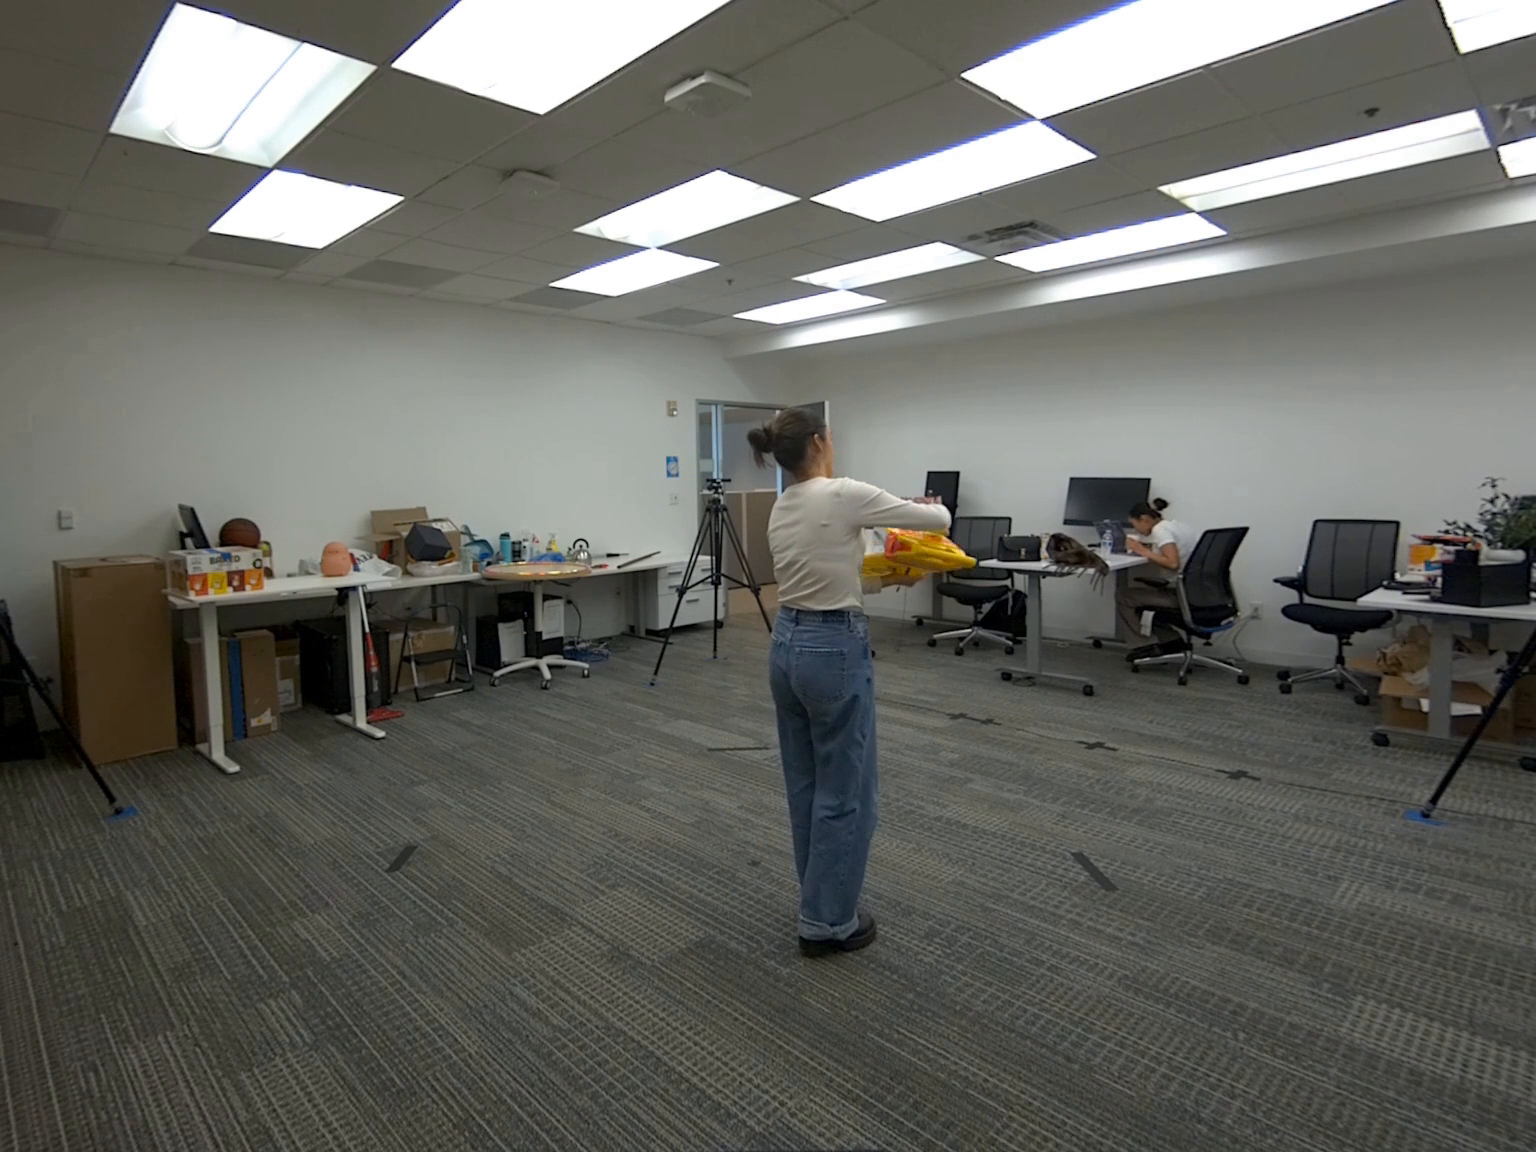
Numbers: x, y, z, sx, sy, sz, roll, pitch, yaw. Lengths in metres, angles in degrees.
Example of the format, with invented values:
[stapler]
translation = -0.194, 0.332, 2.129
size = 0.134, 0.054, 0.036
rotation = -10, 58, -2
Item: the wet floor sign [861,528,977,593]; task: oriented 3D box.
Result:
[wet floor sign]
translation = 0.424, -0.092, 2.783
size = 0.277, 0.289, 0.661
rotation = 9, 6, -19
